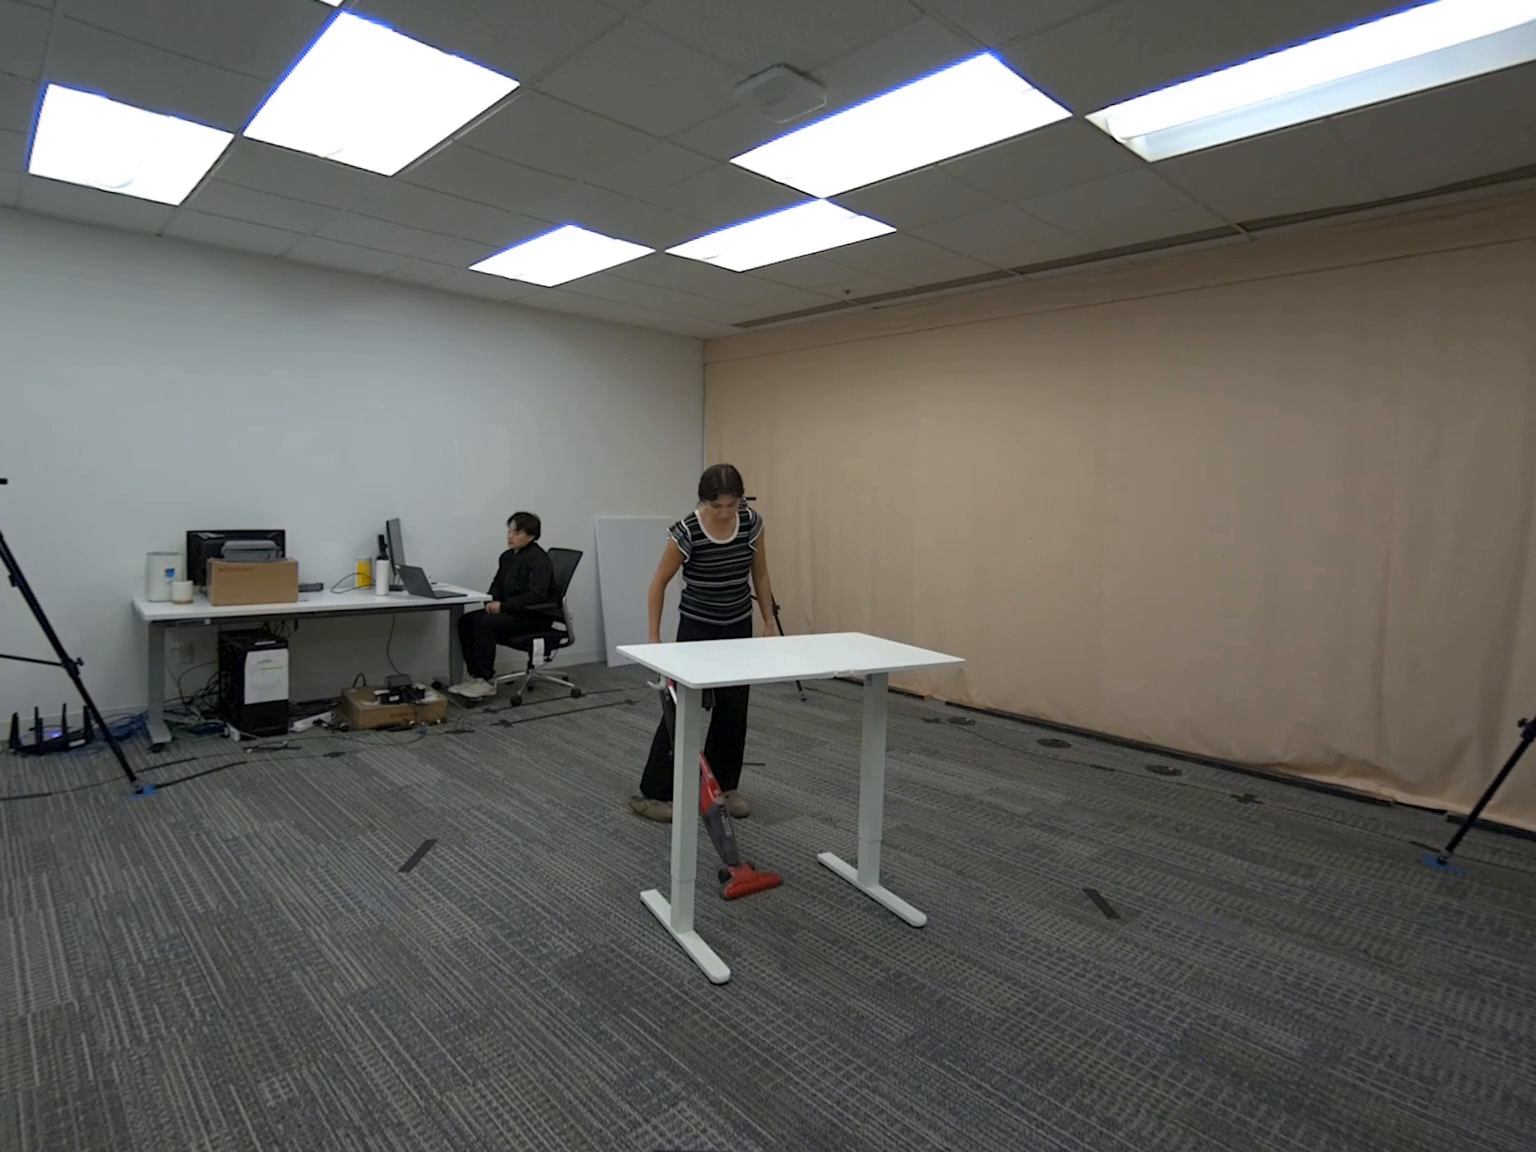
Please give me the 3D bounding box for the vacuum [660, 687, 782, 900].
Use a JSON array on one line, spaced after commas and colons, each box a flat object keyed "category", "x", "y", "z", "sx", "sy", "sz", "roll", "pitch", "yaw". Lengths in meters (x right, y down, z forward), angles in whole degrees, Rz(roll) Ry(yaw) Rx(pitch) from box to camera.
[{"category": "vacuum", "x": -0.294, "y": 0.732, "z": 3.340, "sx": 0.246, "sy": 0.143, "sz": 1.081, "roll": 6, "pitch": 41, "yaw": -36}]
